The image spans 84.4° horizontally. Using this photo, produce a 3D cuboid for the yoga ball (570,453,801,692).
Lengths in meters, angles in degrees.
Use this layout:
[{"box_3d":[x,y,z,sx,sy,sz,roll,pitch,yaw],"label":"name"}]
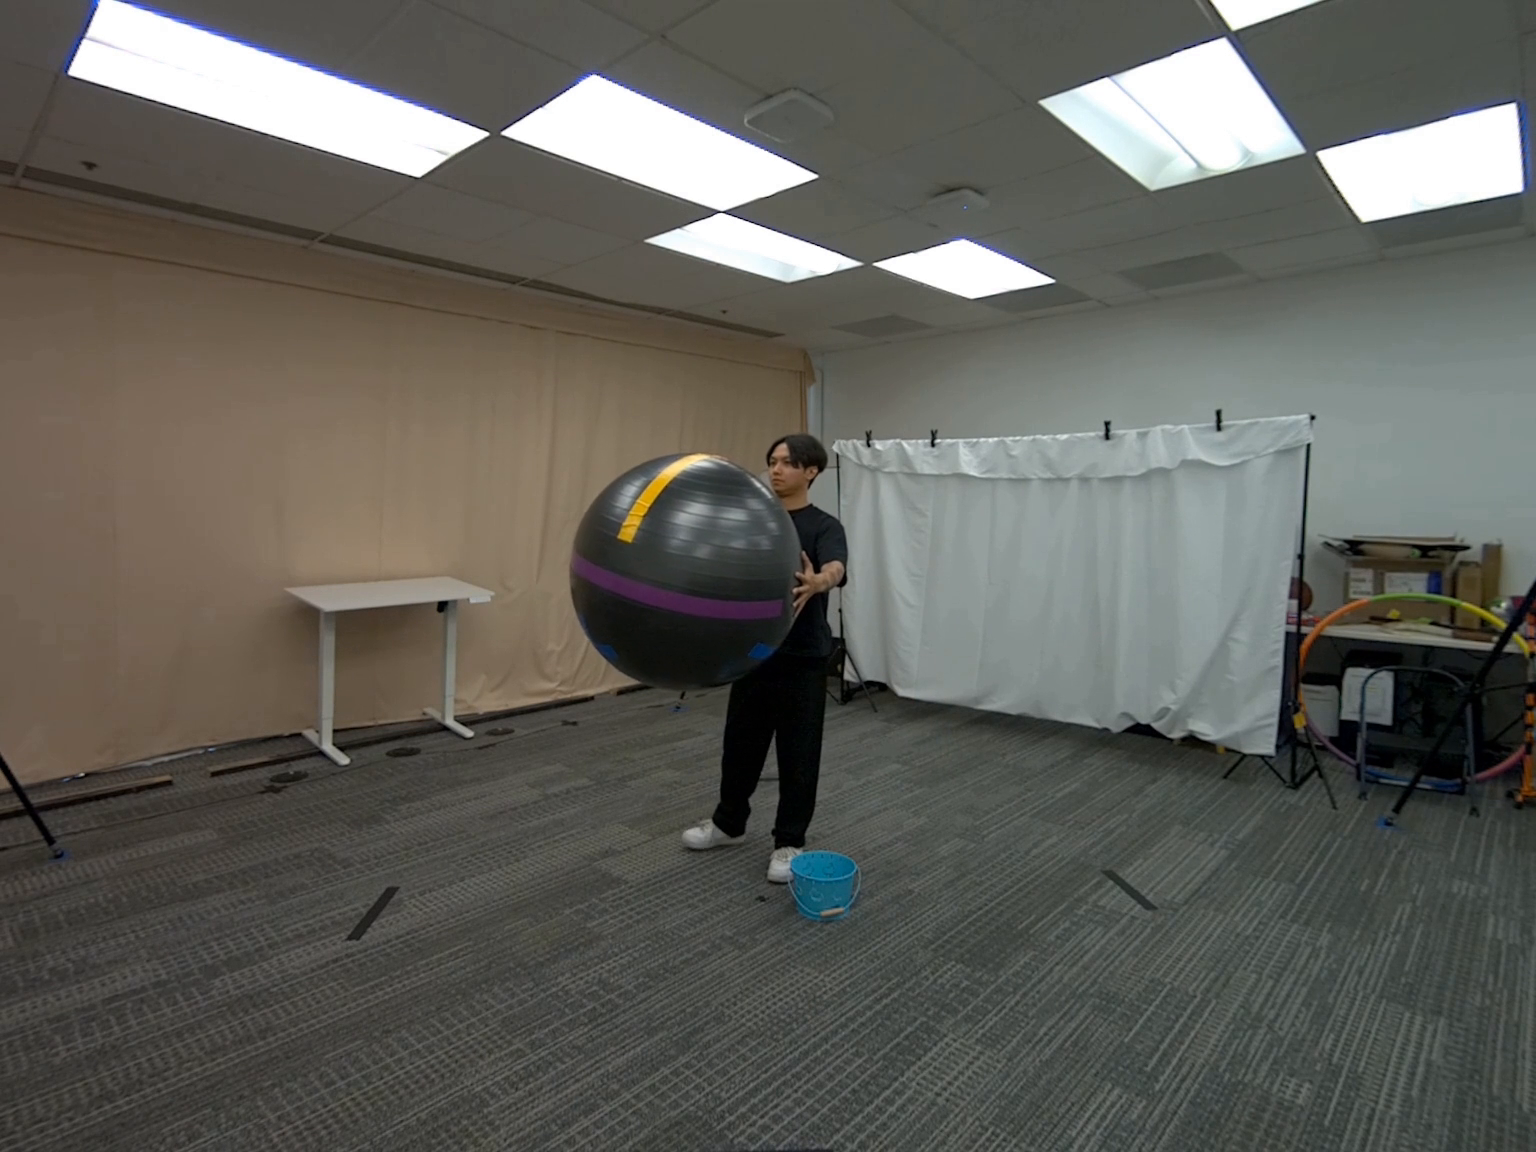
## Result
[{"box_3d":[-0.270,-0.006,2.718,0.757,0.756,0.760,0,4,-2],"label":"yoga ball"}]
